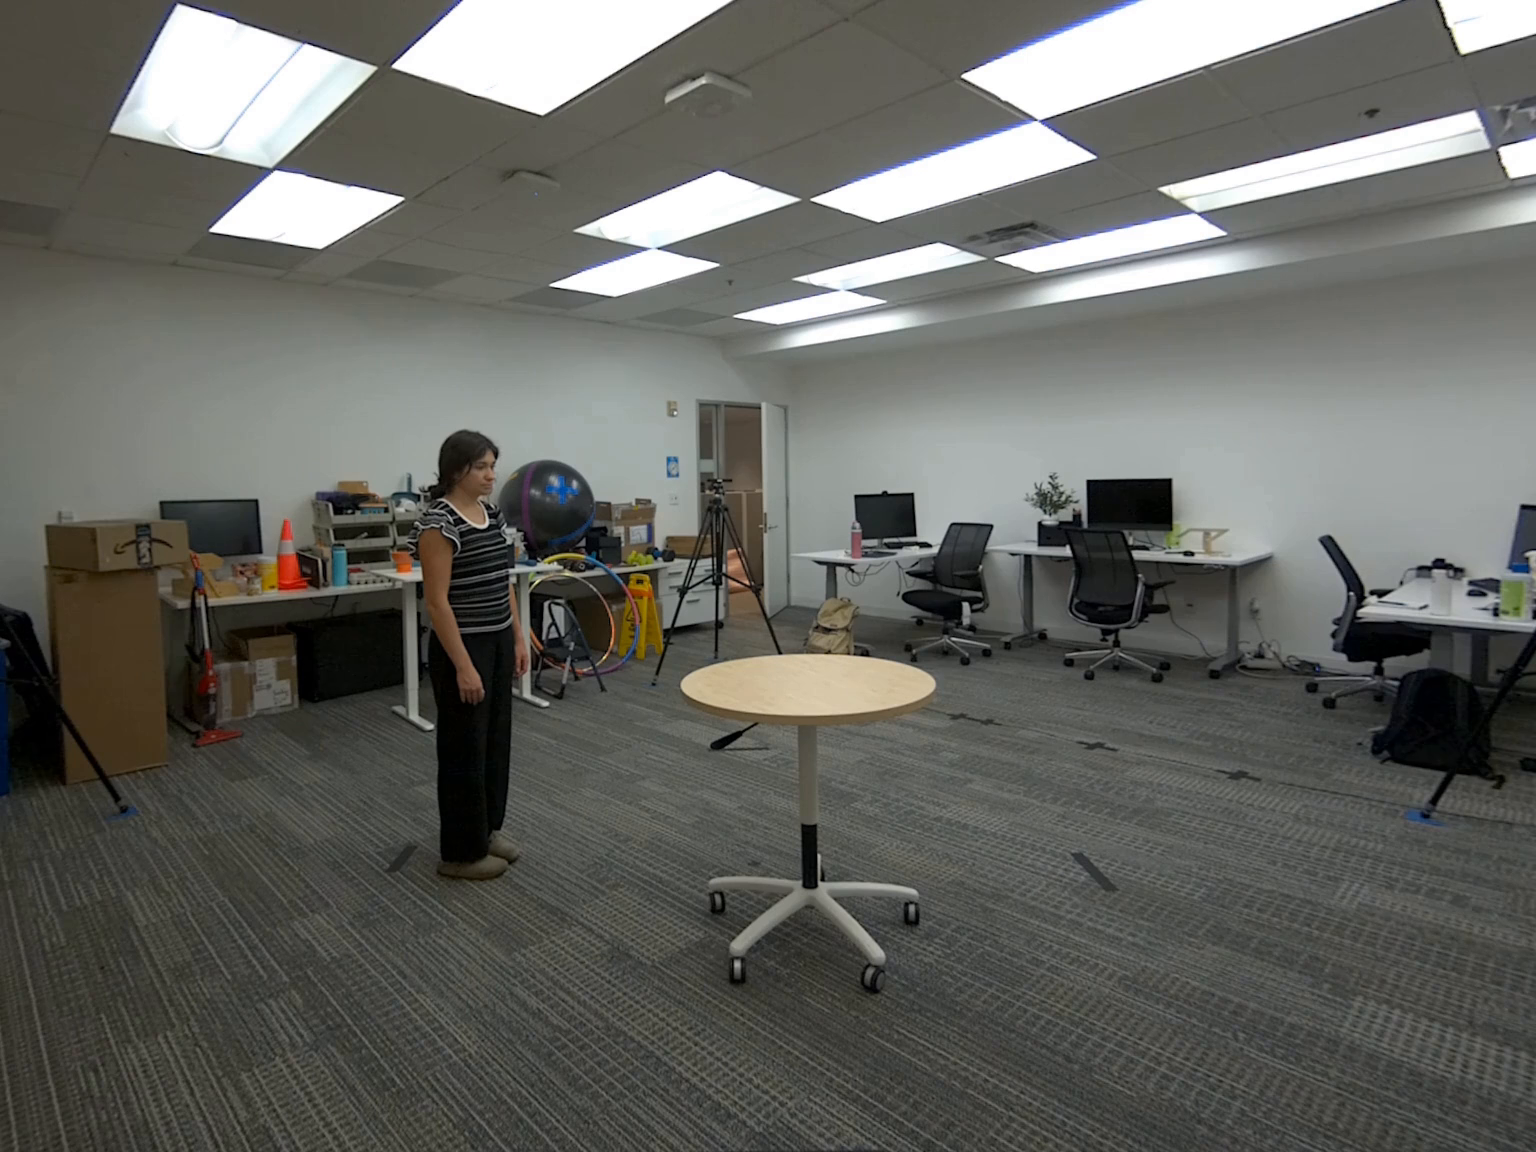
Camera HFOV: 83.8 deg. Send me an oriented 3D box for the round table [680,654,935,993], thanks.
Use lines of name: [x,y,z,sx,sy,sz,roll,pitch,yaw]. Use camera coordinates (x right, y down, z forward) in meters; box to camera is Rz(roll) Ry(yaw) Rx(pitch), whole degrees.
round table: [0.133,0.712,2.615,0.763,0.791,0.768,-2,5,-2]
